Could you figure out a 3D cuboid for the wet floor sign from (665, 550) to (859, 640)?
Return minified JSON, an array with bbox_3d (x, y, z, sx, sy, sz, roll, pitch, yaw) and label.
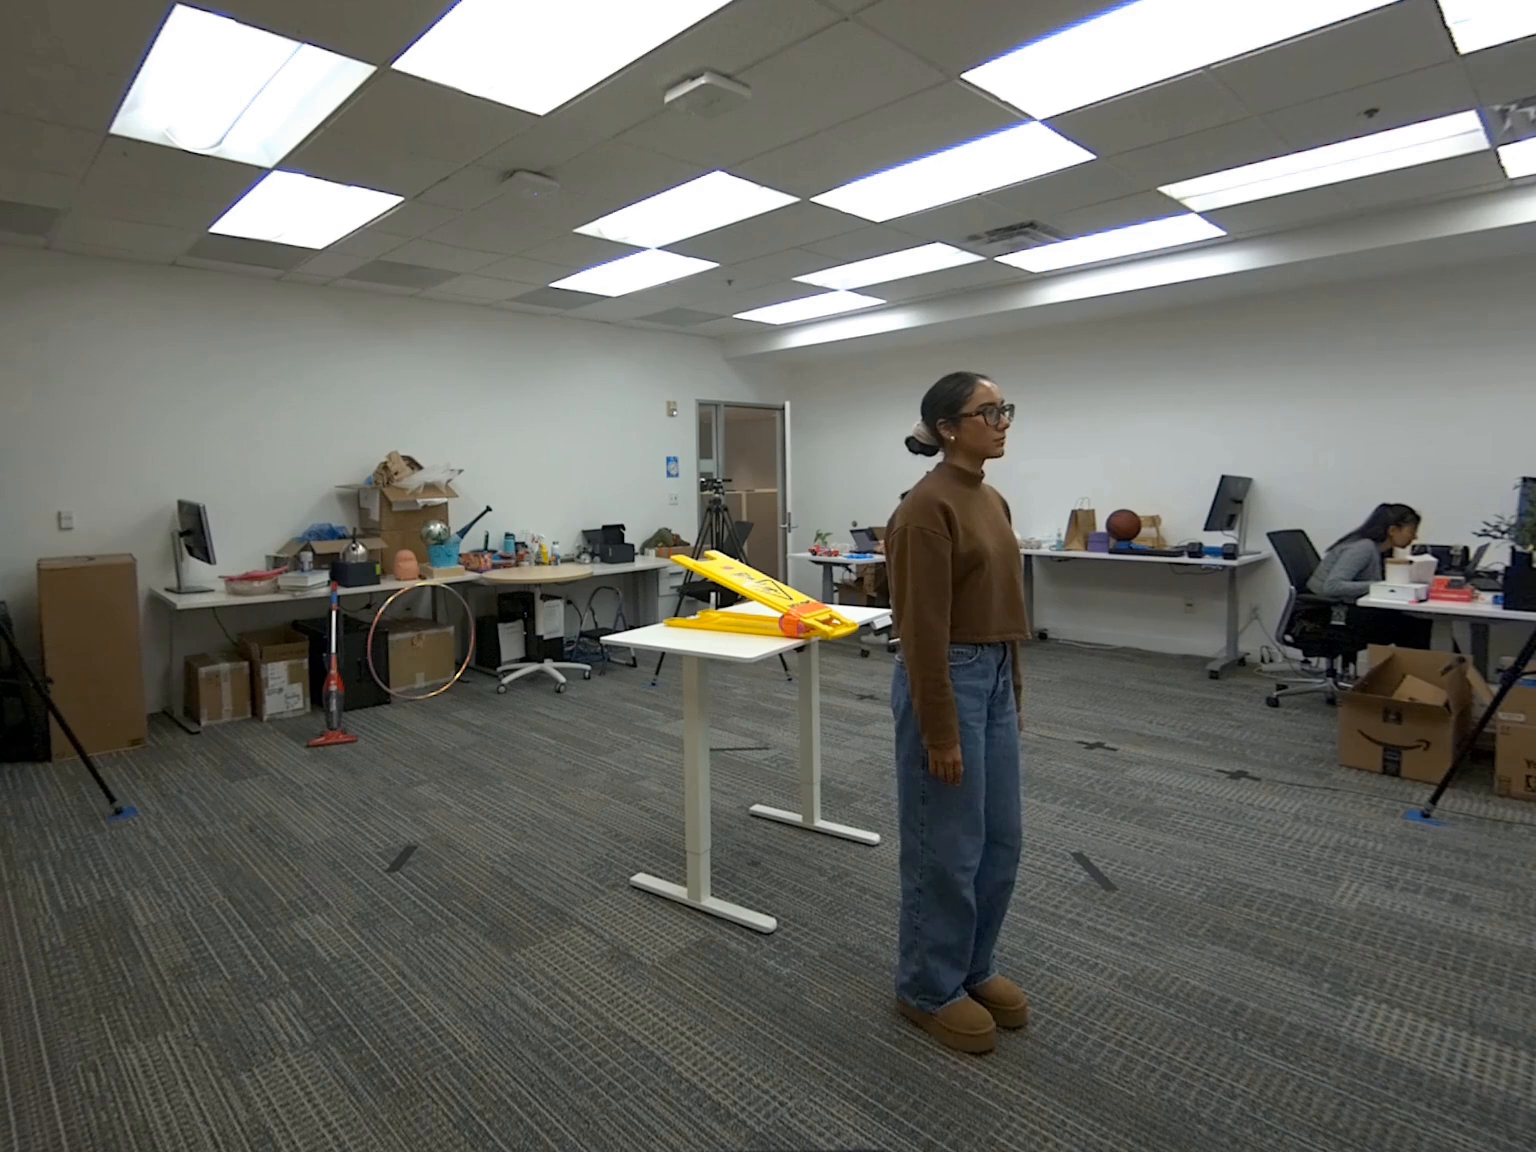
[{"bbox_3d":[-0.011,0.112,2.942,0.666,0.288,0.275,13,11,32],"label":"wet floor sign"}]
